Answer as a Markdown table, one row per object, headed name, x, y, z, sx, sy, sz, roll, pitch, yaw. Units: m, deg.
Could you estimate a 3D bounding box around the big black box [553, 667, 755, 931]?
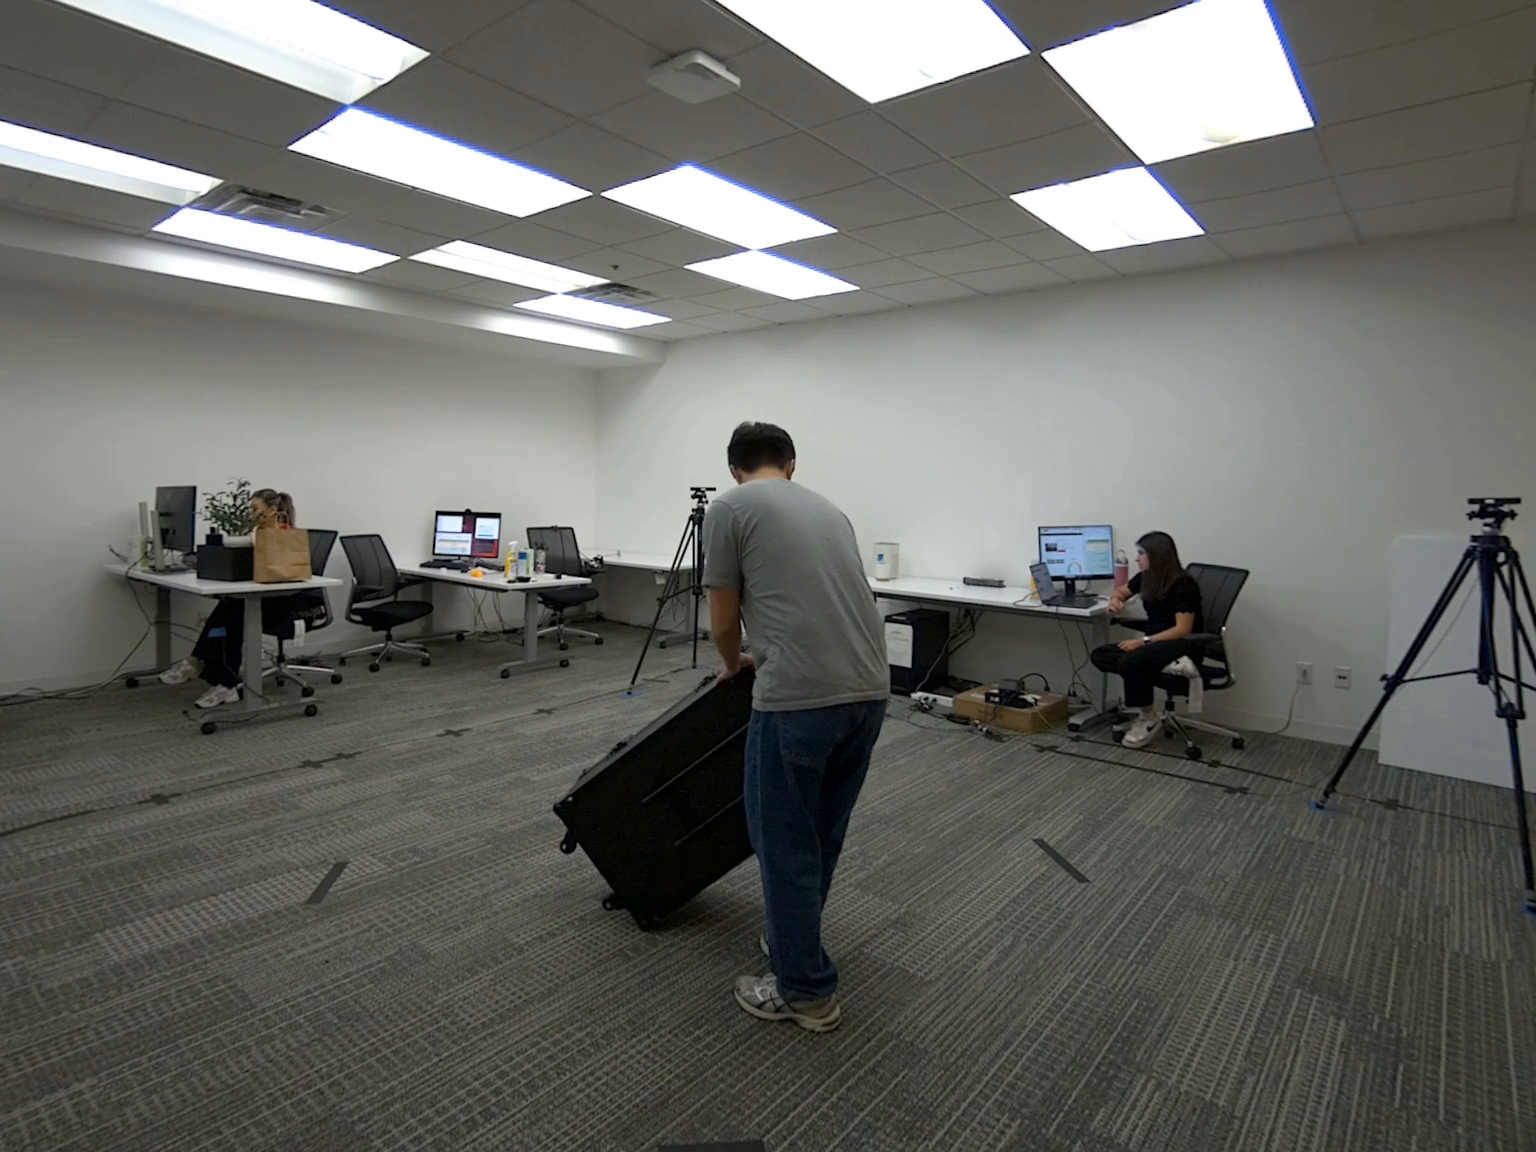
| name | x | y | z | sx | sy | sz | roll | pitch | yaw |
| --- | --- | --- | --- | --- | --- | --- | --- | --- | --- |
| big black box | -0.246 | 0.693 | 2.770 | 0.863 | 0.523 | 0.394 | -37 | -1 | 9 |
